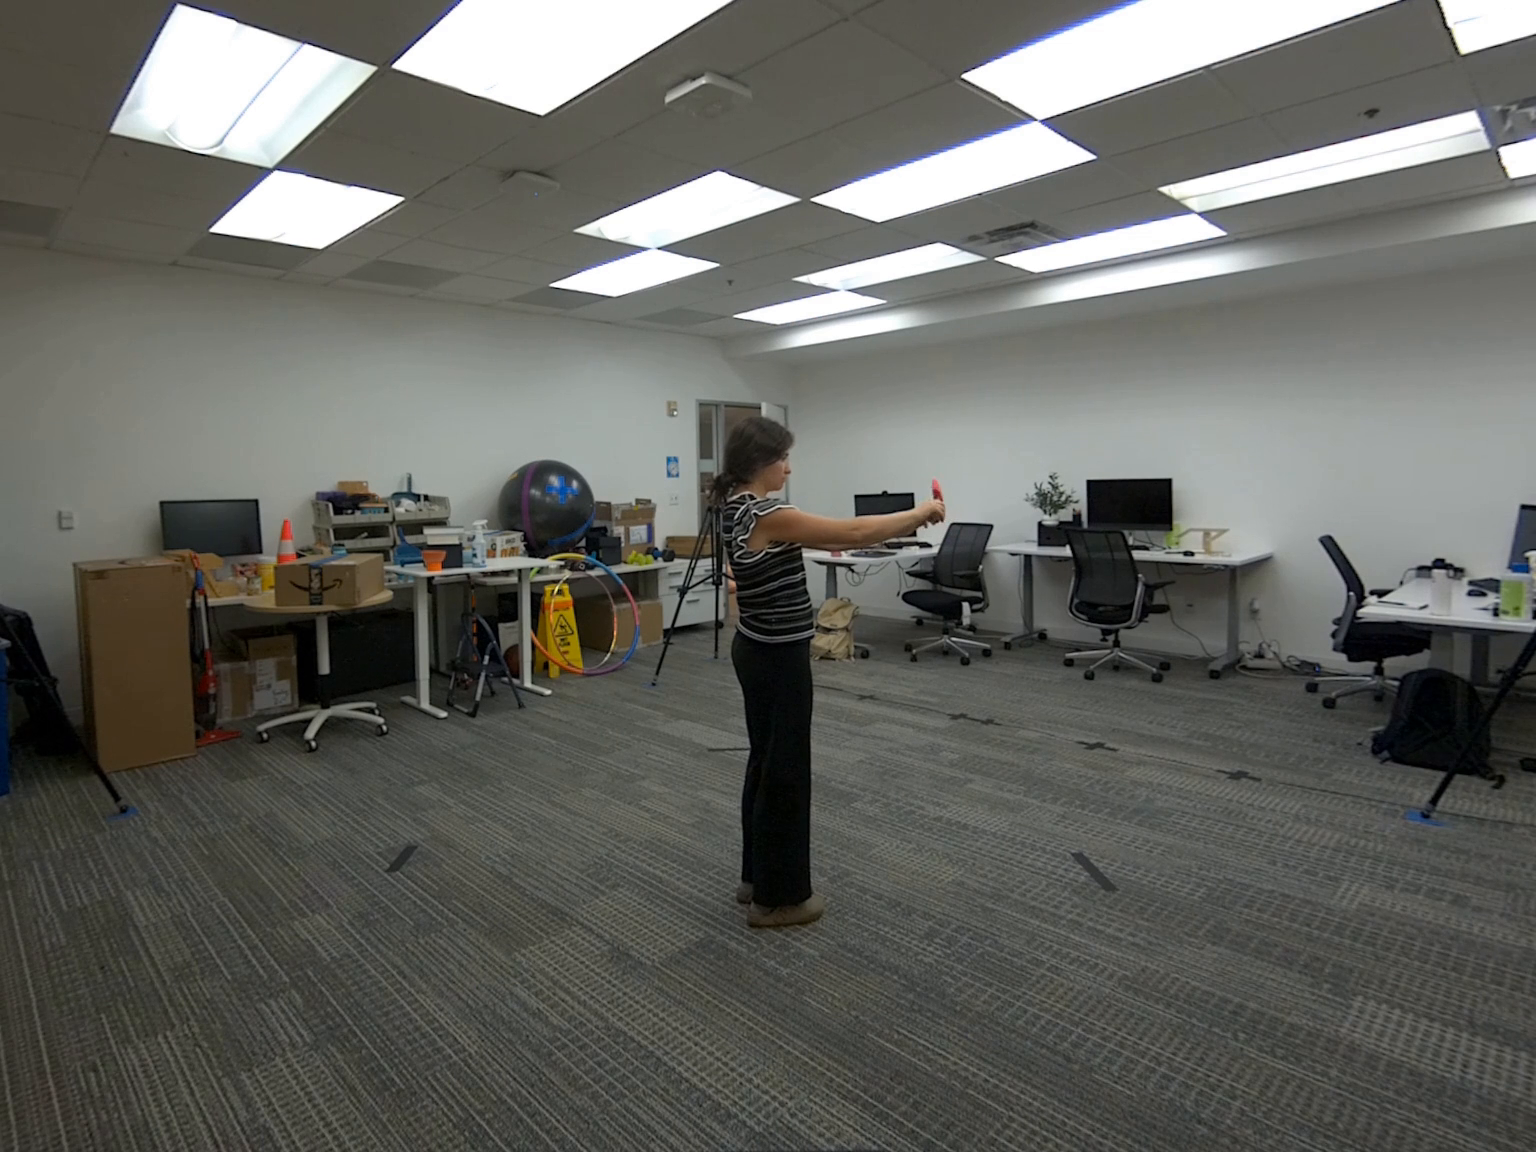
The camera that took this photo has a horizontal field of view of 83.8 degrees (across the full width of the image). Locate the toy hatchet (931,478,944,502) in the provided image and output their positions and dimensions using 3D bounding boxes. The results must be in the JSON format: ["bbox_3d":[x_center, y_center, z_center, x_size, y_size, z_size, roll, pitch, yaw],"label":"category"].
[{"bbox_3d":[0.550,-0.242,2.745,0.030,0.130,0.269,-6,8,11],"label":"toy hatchet"}]
